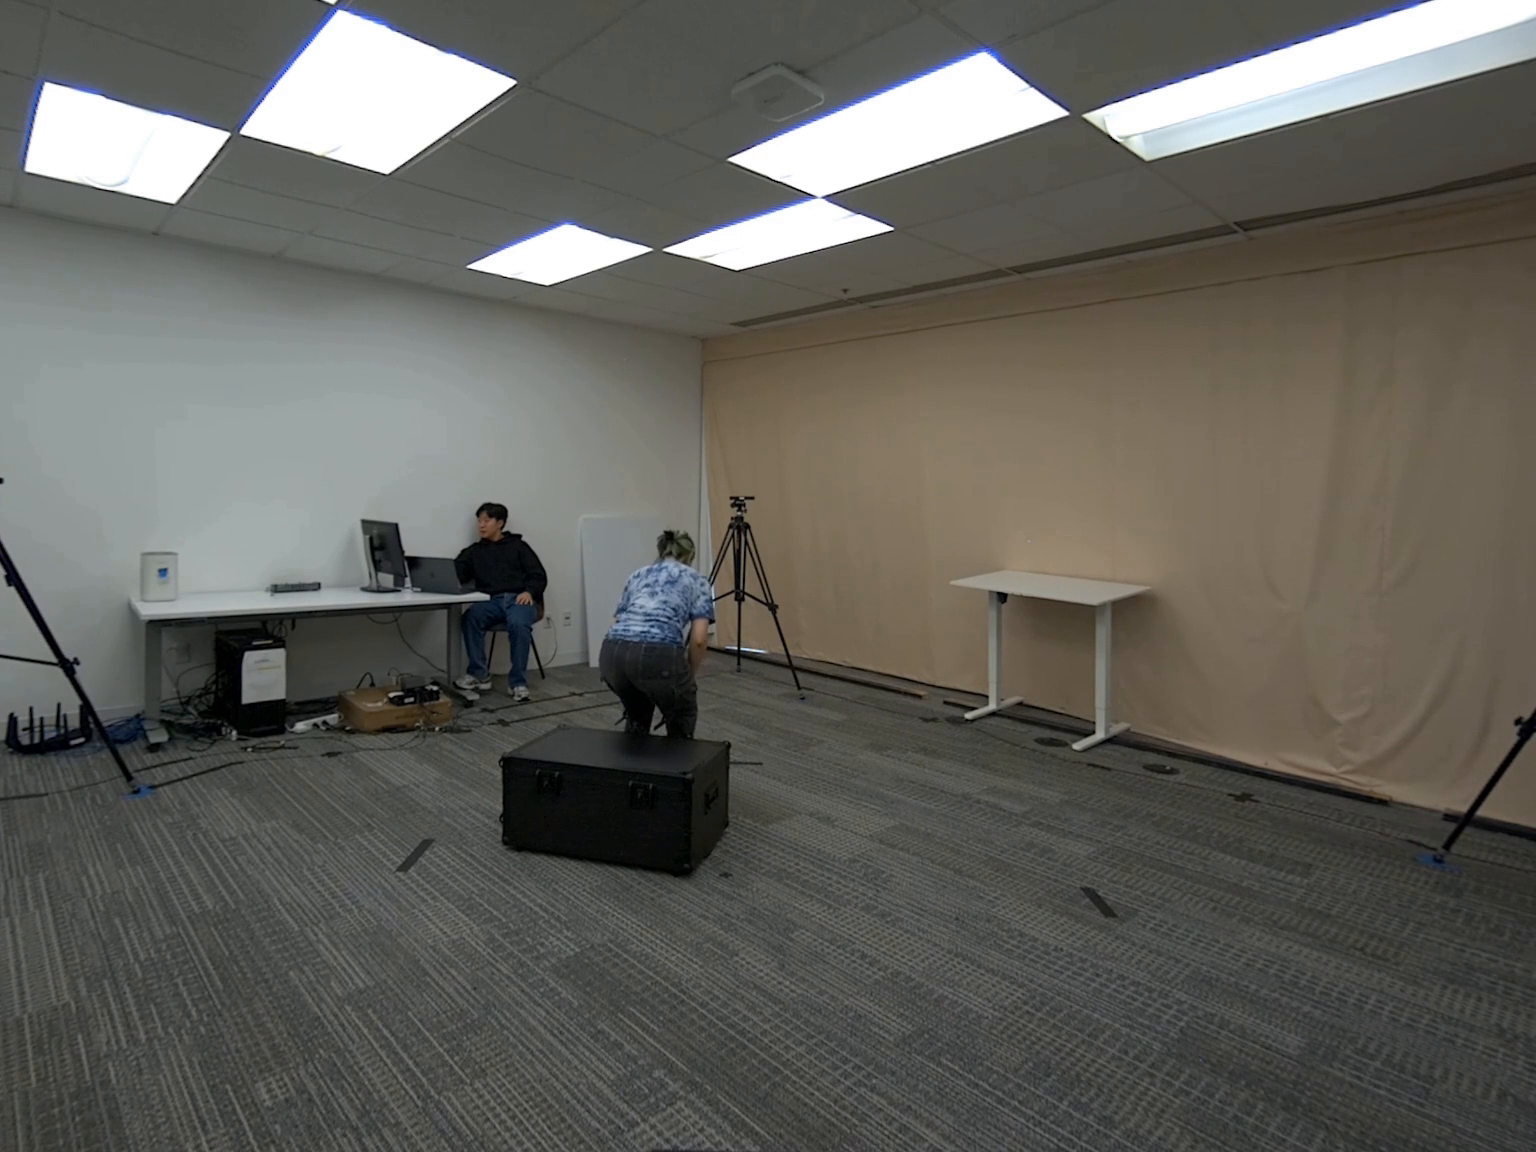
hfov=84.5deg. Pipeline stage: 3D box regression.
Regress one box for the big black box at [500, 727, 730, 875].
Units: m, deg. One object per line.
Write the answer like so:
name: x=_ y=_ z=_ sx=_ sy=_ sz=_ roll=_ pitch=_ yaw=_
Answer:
big black box: x=-0.631 y=0.873 z=3.391 sx=0.873 sy=0.395 sz=0.516 roll=4 pitch=5 yaw=15
